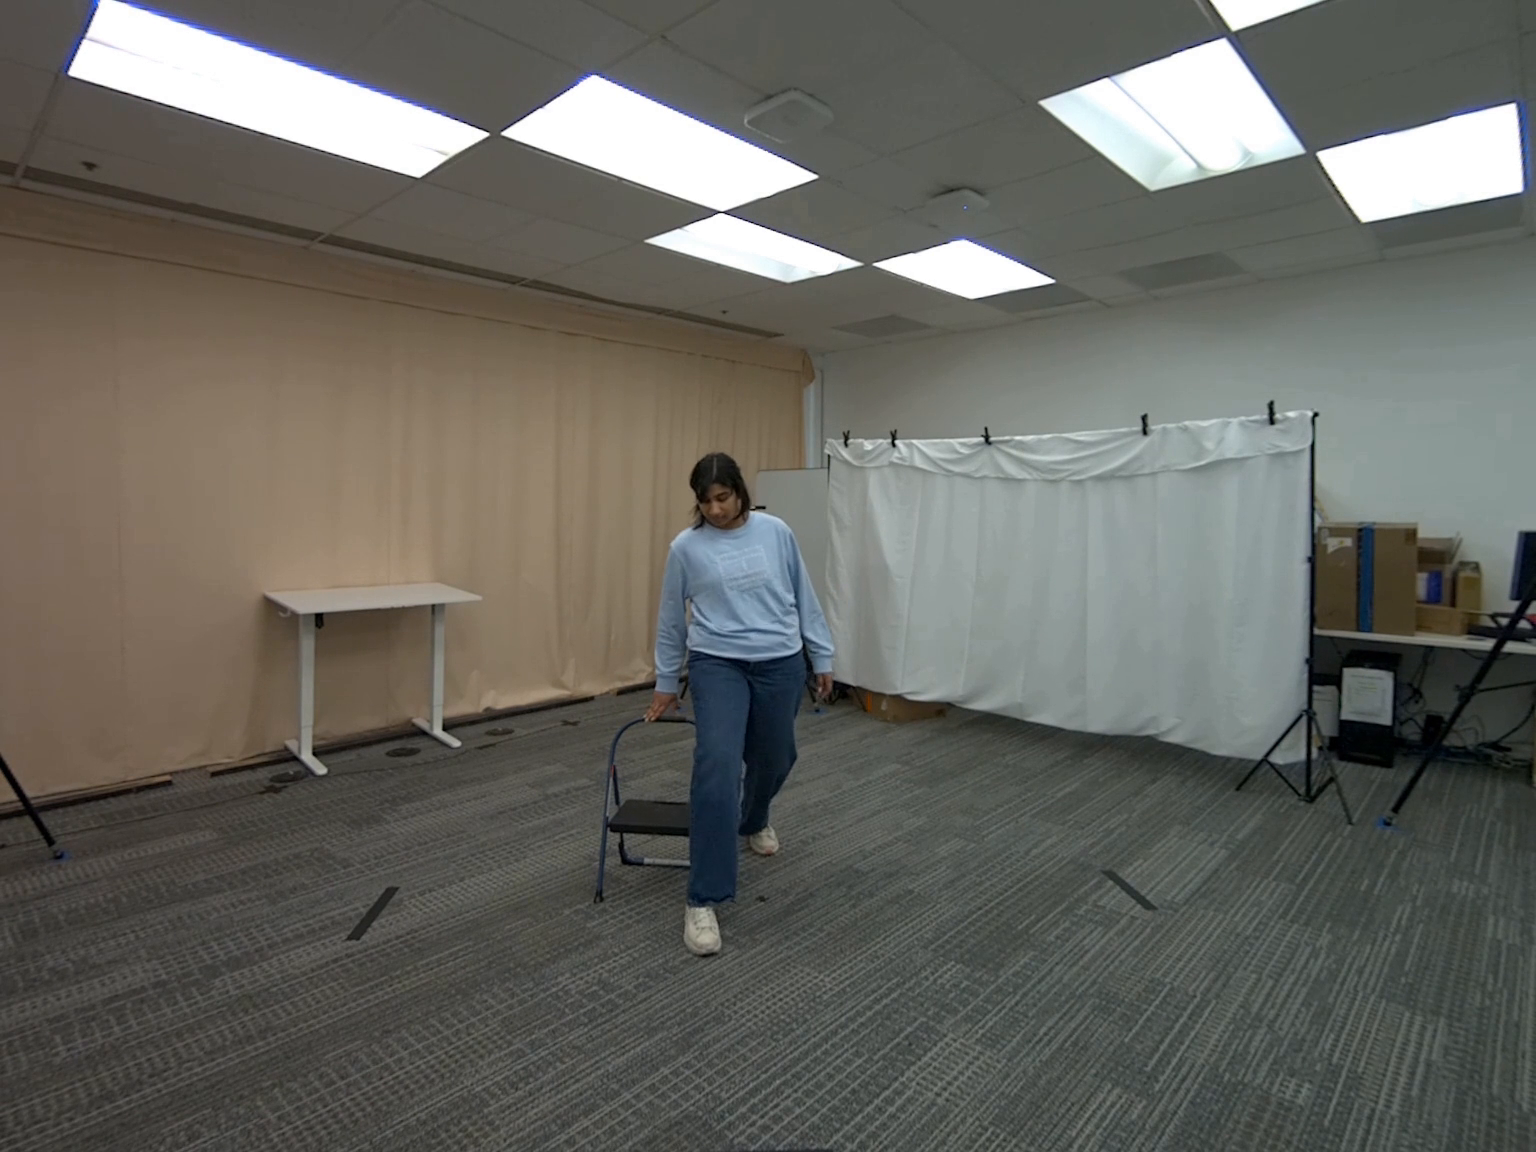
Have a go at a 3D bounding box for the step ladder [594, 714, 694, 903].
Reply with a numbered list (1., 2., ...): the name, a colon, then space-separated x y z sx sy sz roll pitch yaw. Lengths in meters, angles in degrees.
1. step ladder: -0.393 0.836 3.089 0.435 0.605 0.346 0 3 9
